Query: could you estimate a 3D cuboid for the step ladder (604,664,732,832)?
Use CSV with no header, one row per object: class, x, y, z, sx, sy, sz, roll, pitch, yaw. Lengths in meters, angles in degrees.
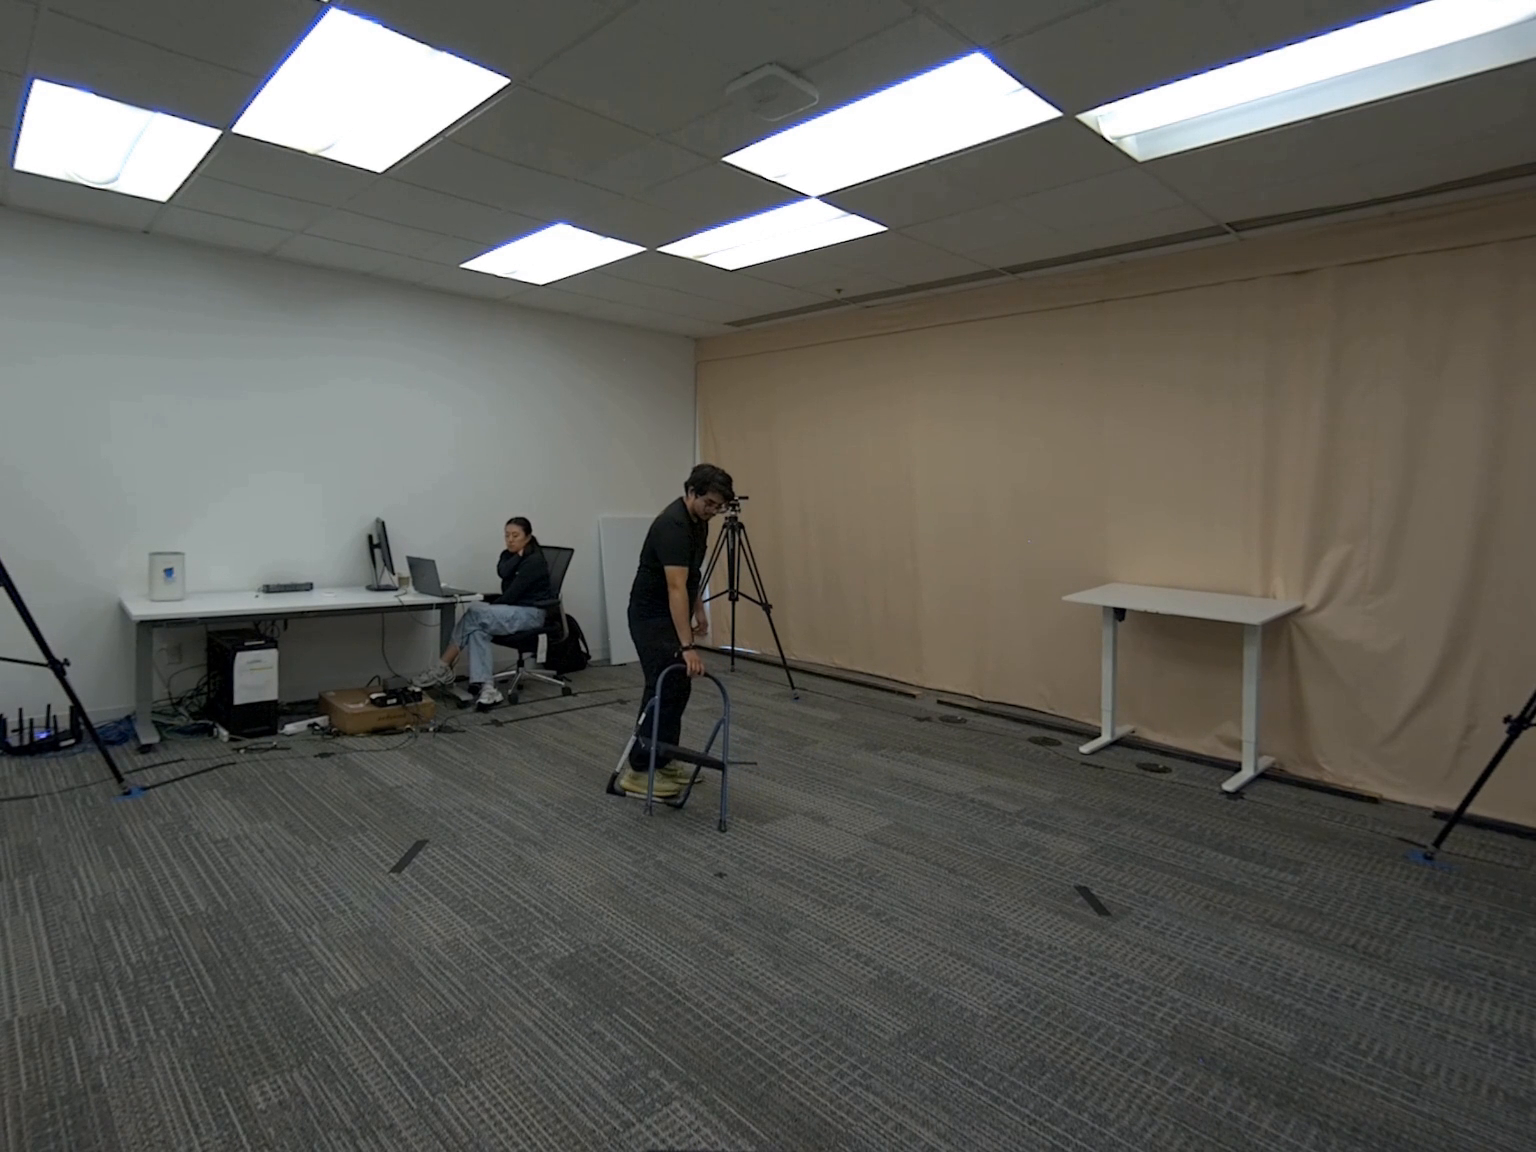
step ladder,-0.351,0.707,3.582,0.418,0.609,0.358,26,-13,-40
